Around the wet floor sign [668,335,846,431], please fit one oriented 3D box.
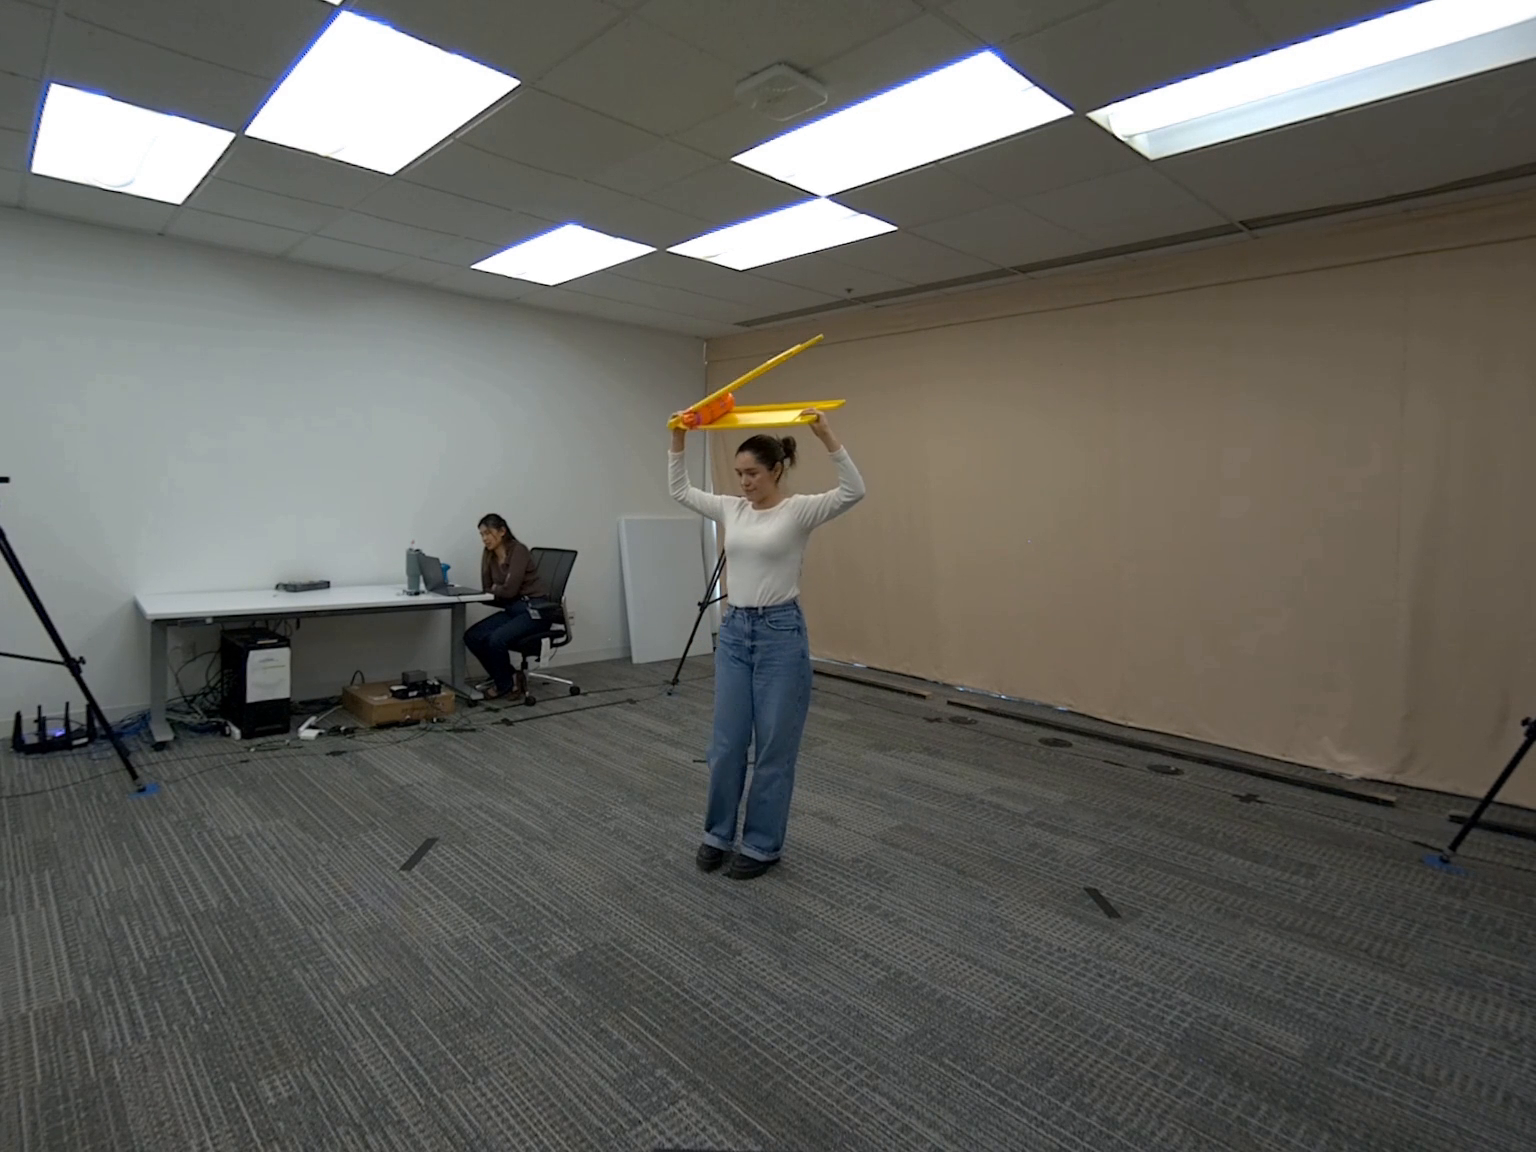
[{"bbox_3d":[-0.099,-0.643,3.071,0.659,0.285,0.281,-6,21,39],"label":"wet floor sign"}]
